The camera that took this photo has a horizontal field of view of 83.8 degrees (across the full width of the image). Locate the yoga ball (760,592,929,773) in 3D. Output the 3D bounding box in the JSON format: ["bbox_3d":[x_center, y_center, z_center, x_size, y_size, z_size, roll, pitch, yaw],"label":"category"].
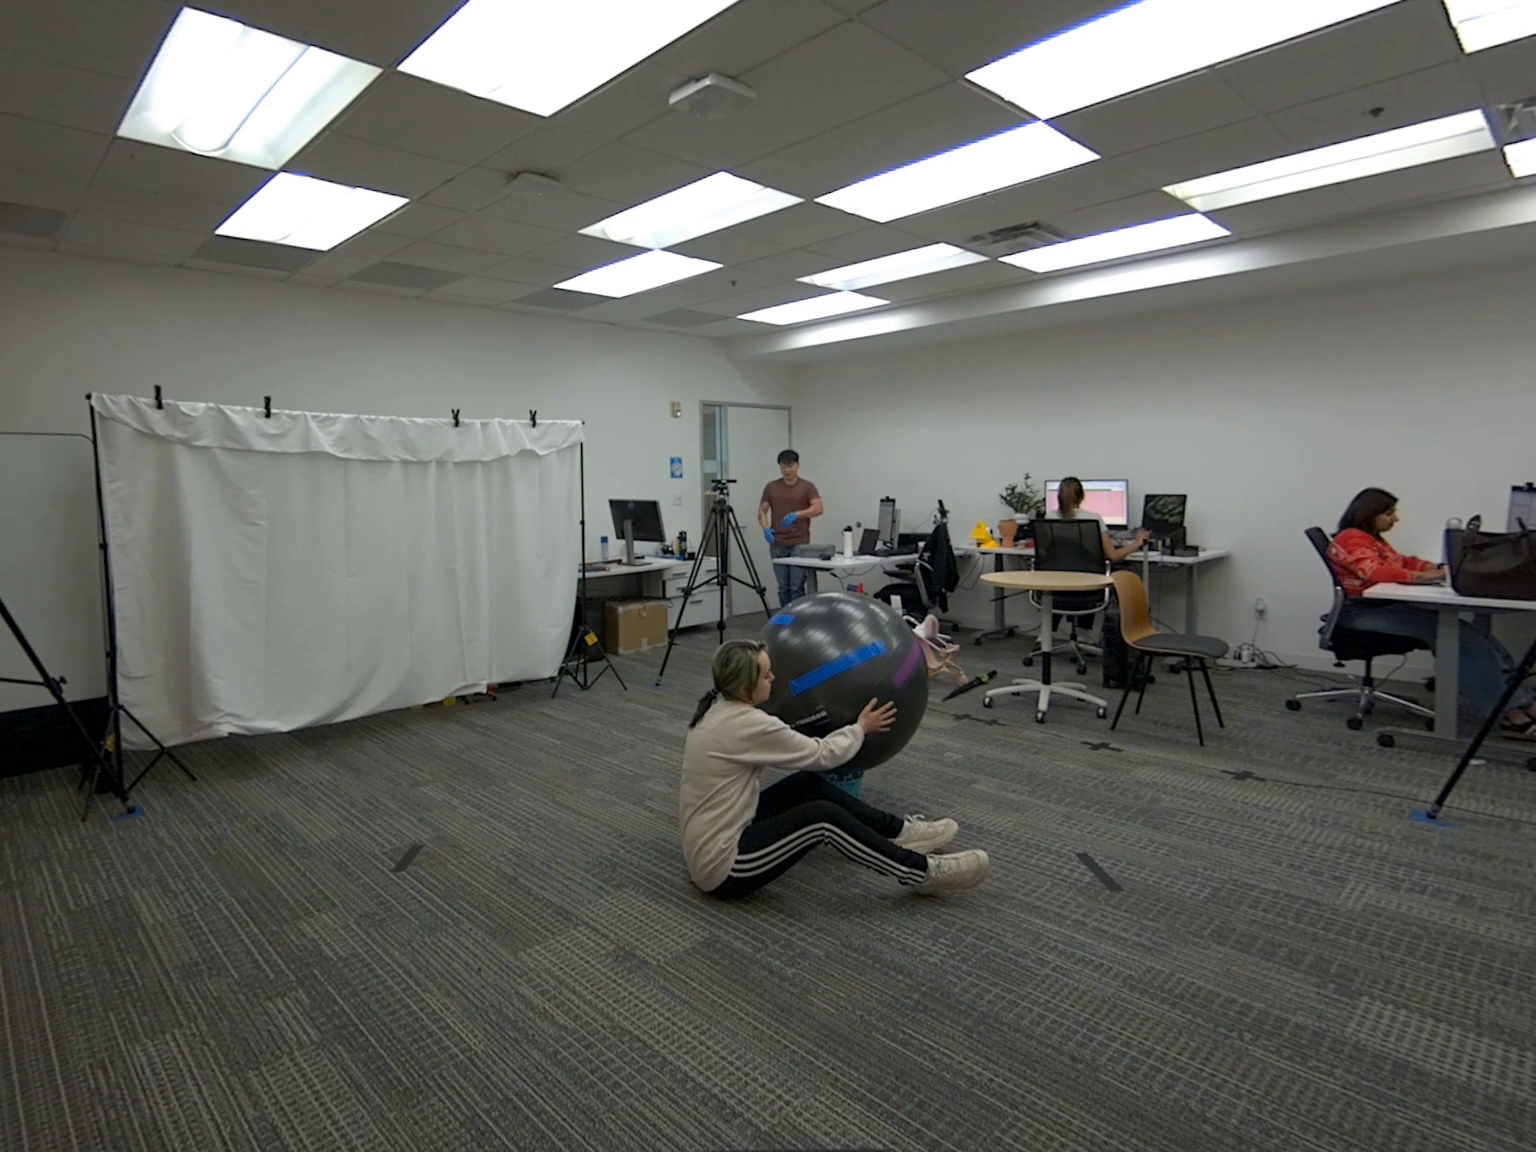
[{"bbox_3d":[0.290,0.443,3.589,0.757,0.755,0.762,-1,5,-2],"label":"yoga ball"}]
